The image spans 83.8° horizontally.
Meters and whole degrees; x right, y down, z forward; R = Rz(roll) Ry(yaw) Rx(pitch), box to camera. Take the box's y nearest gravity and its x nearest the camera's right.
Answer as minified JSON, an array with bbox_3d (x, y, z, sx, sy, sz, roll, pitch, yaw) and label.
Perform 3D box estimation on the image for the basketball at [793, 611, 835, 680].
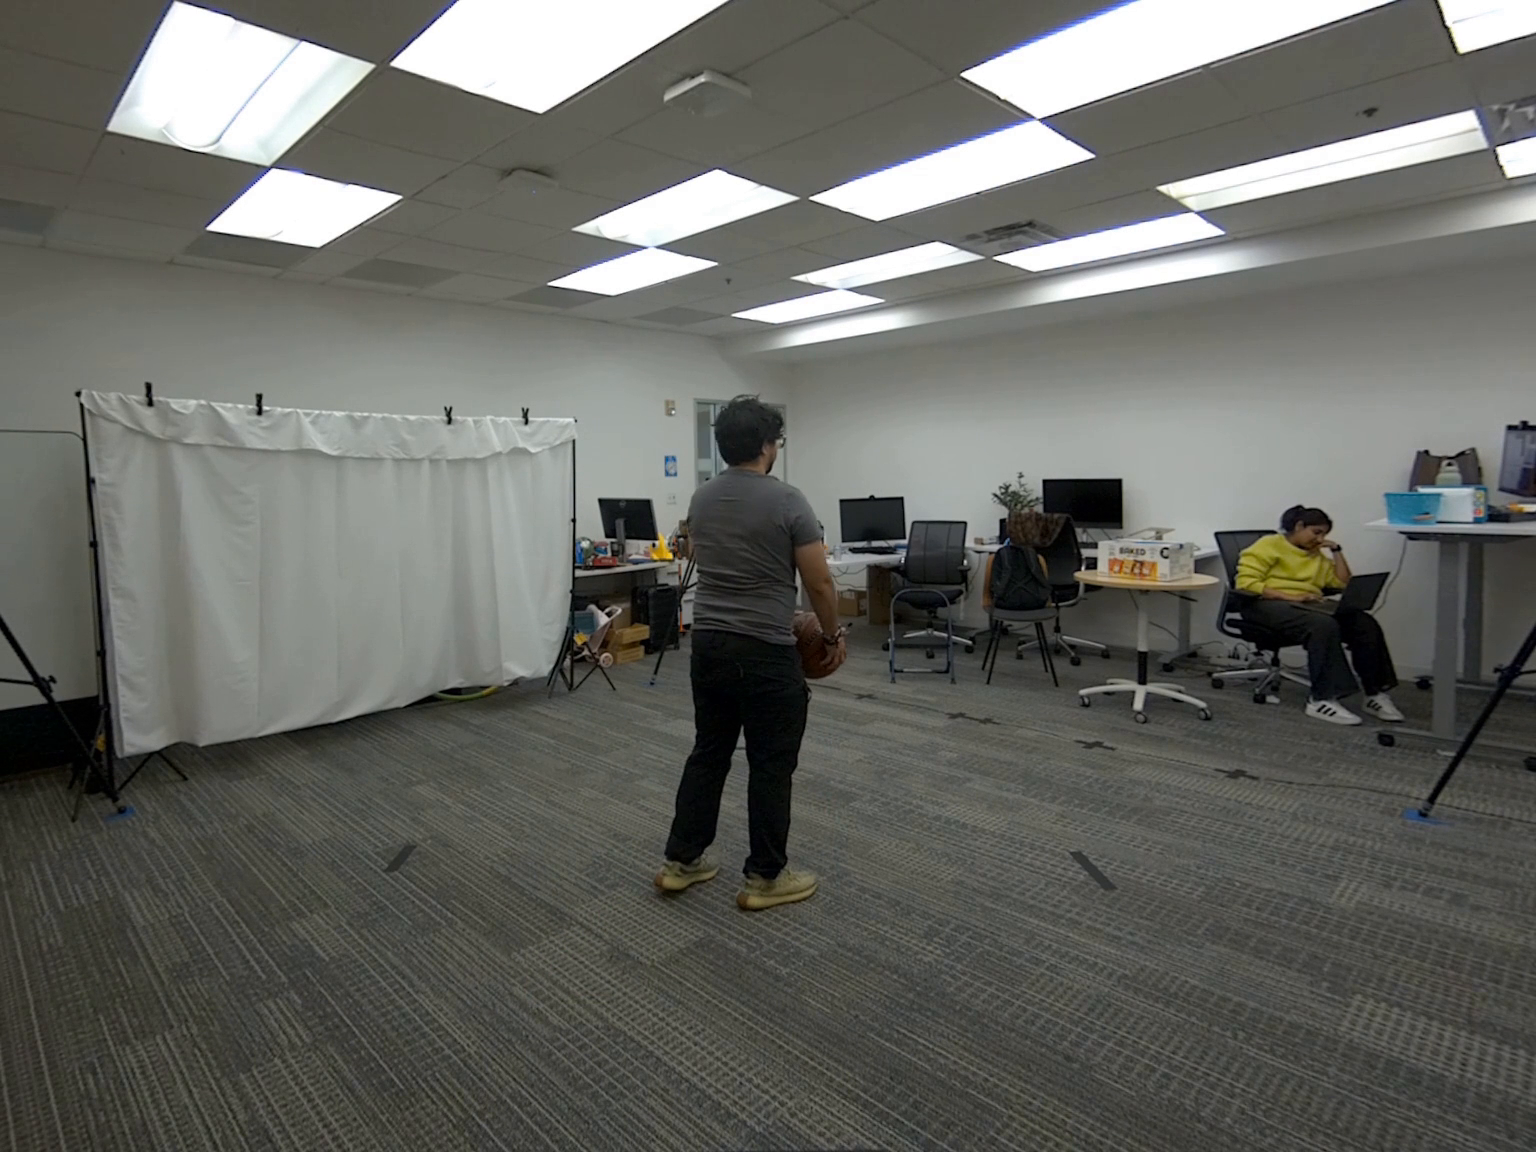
[{"bbox_3d":[0.161,0.248,3.078,0.236,0.235,0.237,-1,5,-2],"label":"basketball"}]
